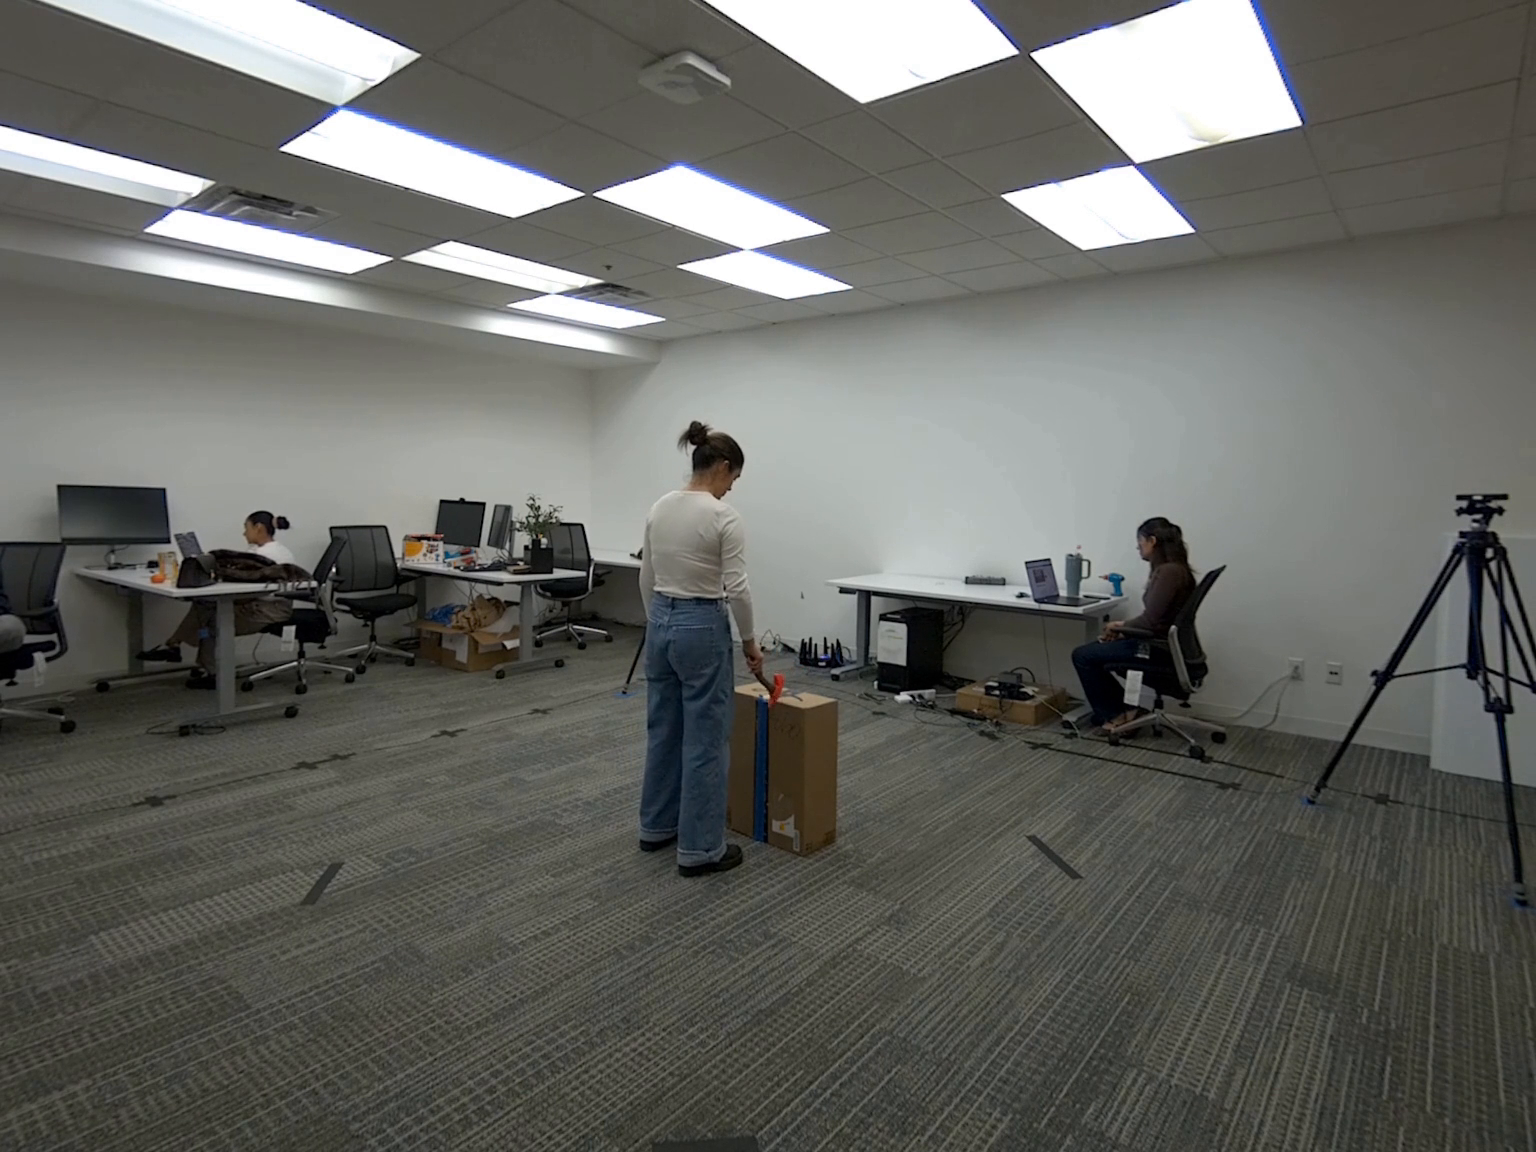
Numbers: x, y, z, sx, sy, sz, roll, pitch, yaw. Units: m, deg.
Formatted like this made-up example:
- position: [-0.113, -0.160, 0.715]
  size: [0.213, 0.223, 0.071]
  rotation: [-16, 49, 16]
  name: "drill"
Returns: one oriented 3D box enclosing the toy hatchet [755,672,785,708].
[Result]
- position: [0.019, 0.358, 3.243]
  size: [0.031, 0.131, 0.259]
  rotation: [12, -36, 38]
  name: "toy hatchet"
